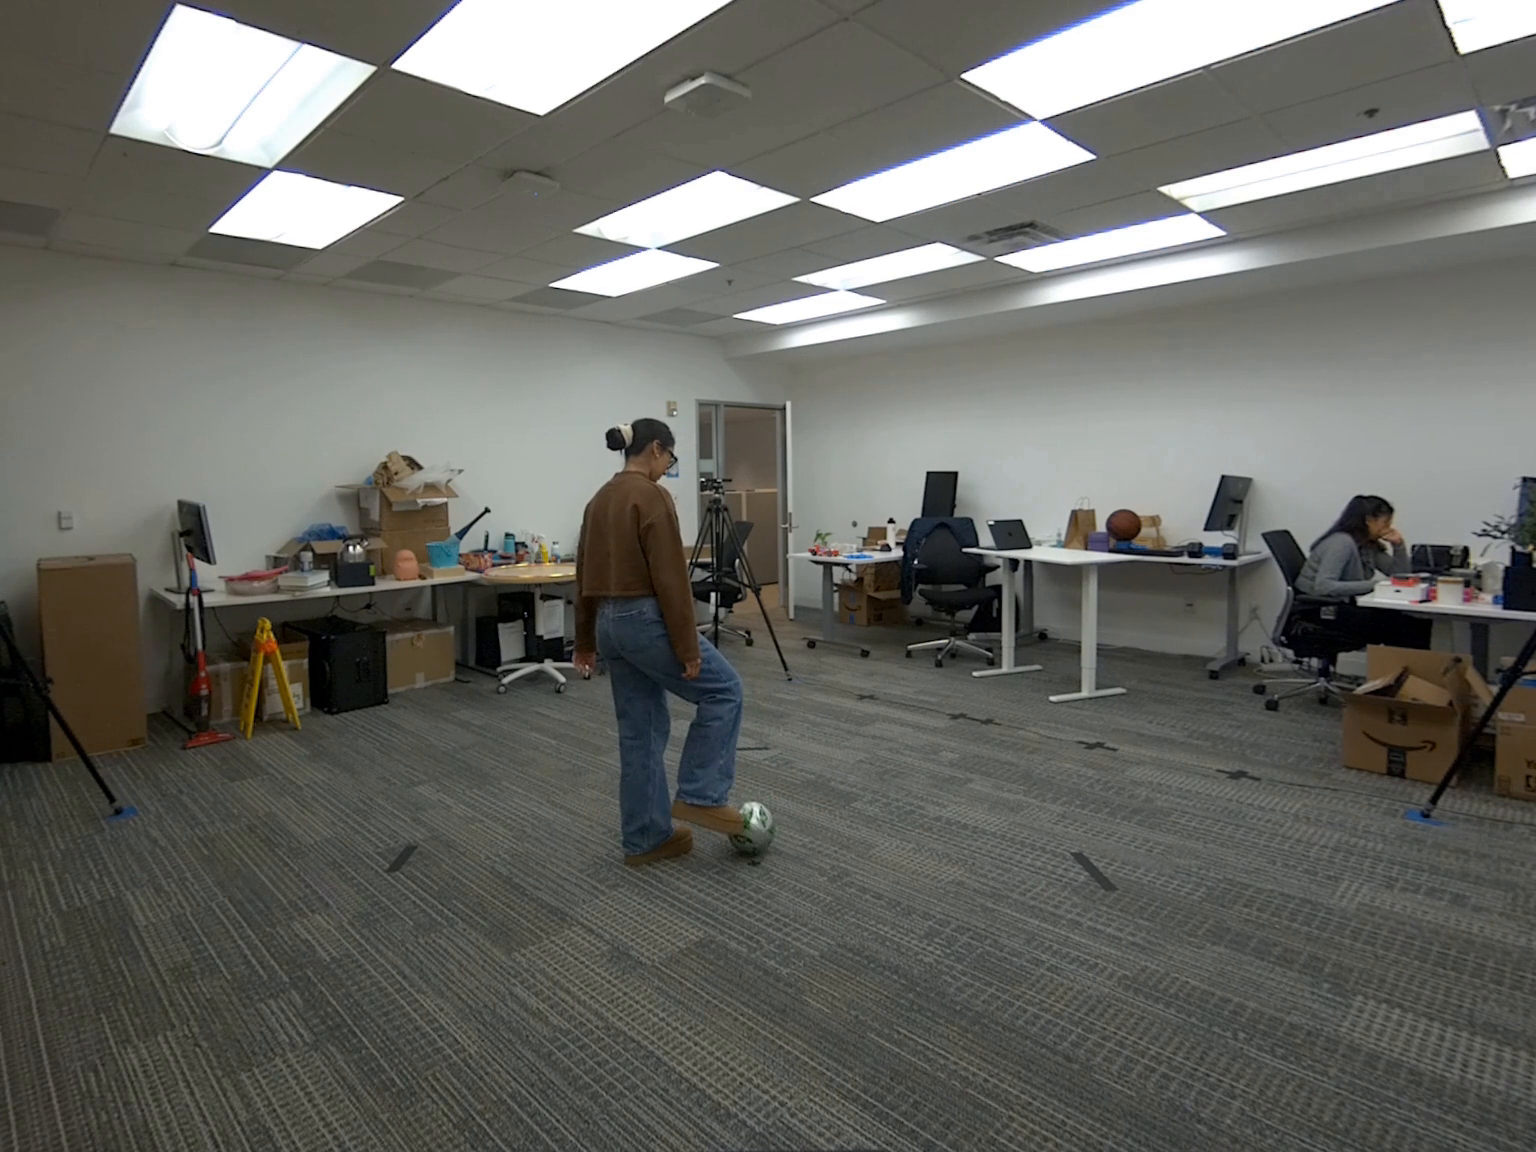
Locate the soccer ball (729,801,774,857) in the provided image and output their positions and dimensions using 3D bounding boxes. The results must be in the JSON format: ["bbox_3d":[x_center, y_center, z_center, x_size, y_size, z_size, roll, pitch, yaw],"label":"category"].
[{"bbox_3d":[-0.052,0.932,3.198,0.187,0.187,0.188,-1,5,-2],"label":"soccer ball"}]
